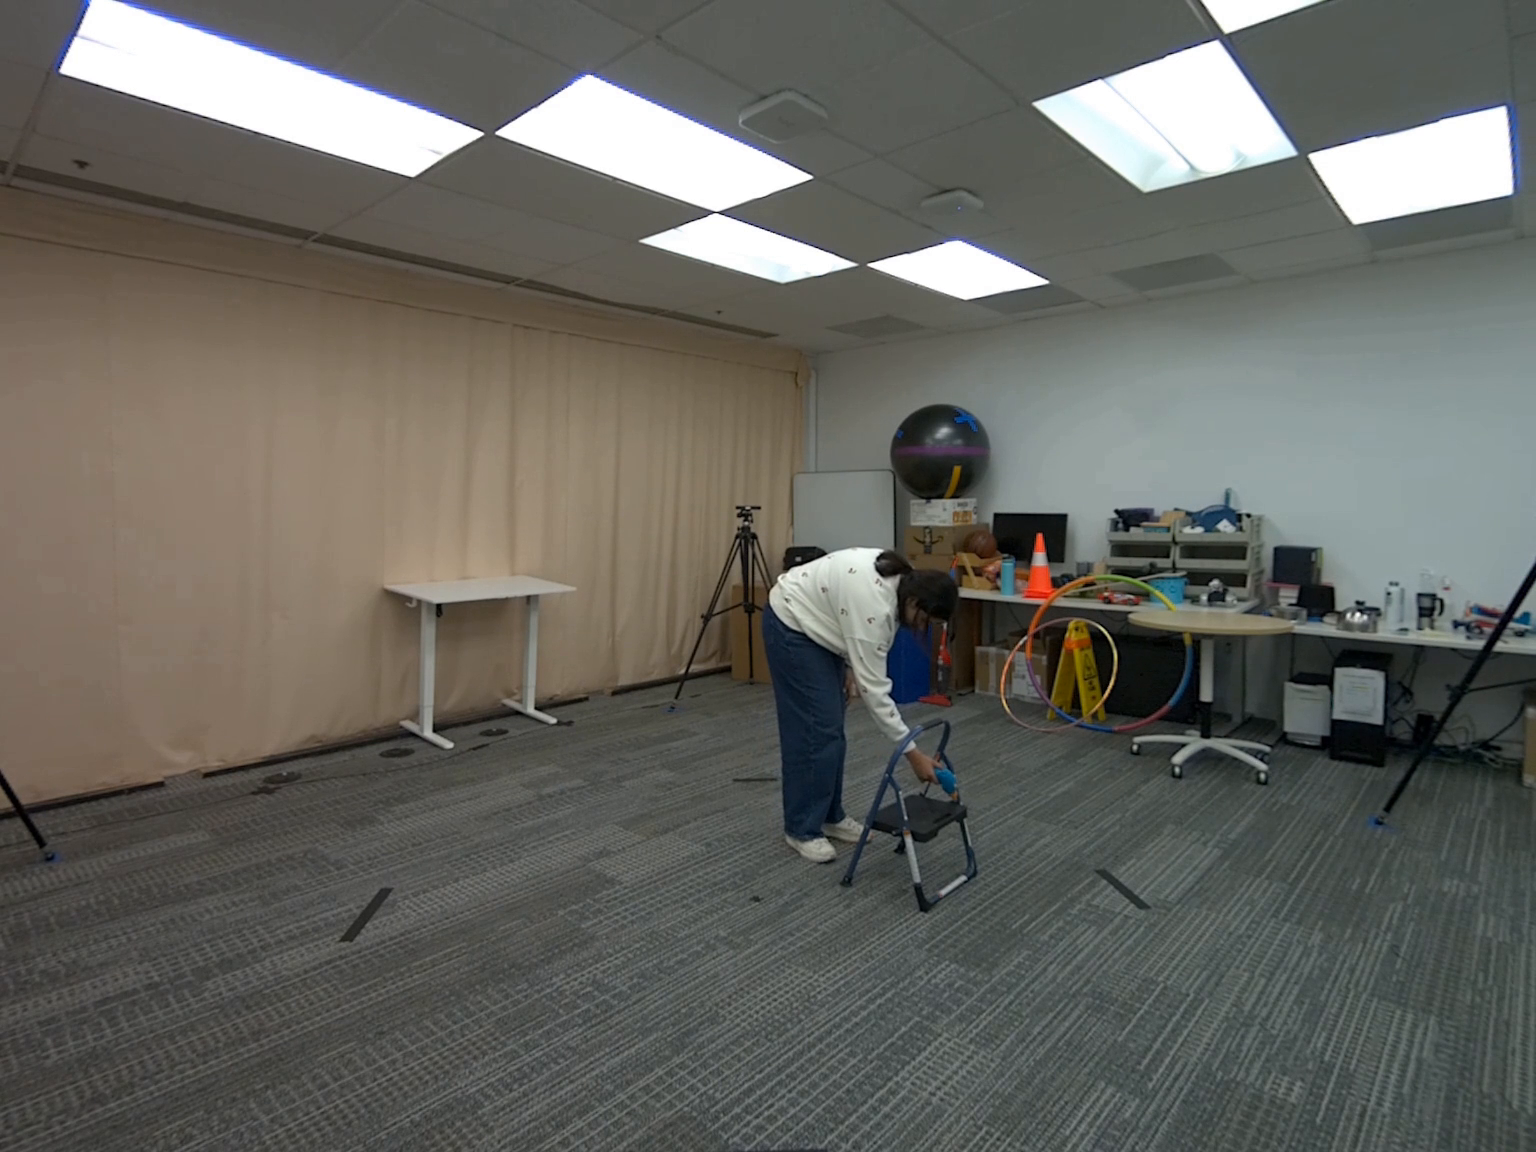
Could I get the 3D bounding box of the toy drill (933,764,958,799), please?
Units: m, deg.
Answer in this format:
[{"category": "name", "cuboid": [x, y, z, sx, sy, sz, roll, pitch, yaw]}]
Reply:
[{"category": "toy drill", "cuboid": [0.667, 0.785, 3.184, 0.060, 0.166, 0.151, -38, 26, -23]}]
